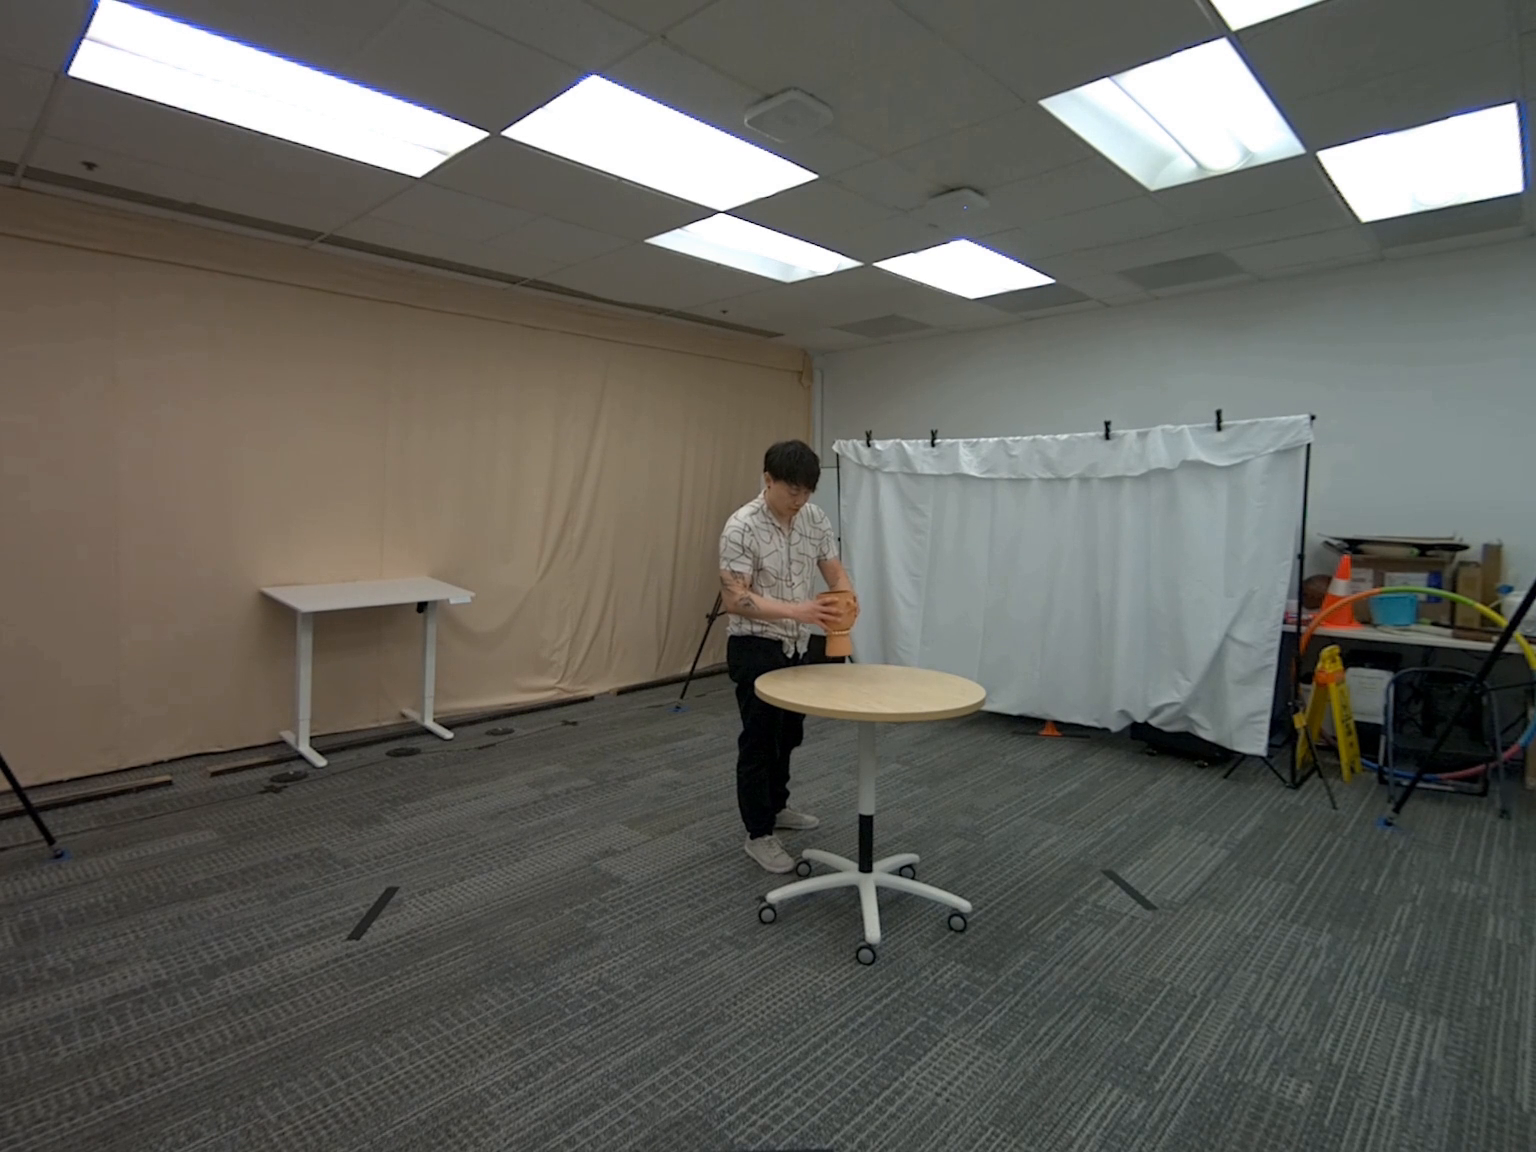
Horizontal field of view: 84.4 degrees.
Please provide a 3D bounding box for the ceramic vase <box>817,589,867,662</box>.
[{"bbox_3d":[0.253,0.168,2.966,0.135,0.219,0.158,-6,1,2],"label":"ceramic vase"}]
